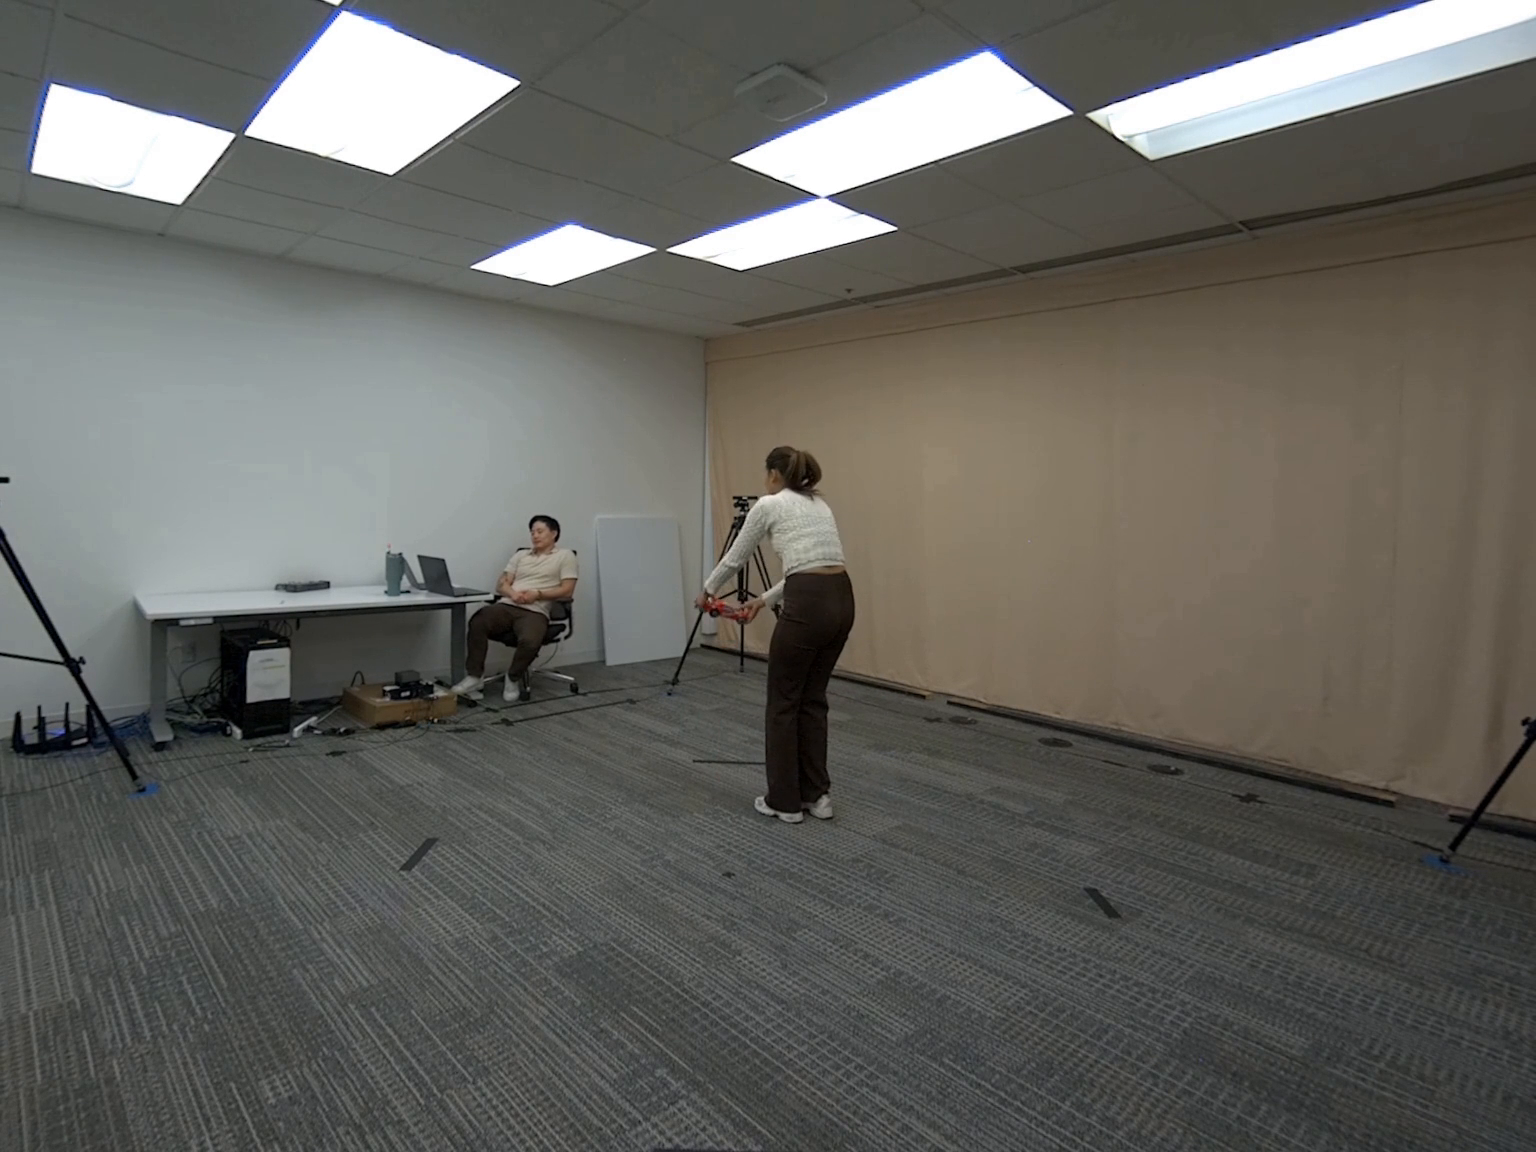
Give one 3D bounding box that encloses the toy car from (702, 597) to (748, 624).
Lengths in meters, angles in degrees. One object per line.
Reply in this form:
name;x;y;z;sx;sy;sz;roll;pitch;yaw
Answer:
toy car;-0.225;0.177;4.103;0.249;0.083;0.133;24;9;-23
